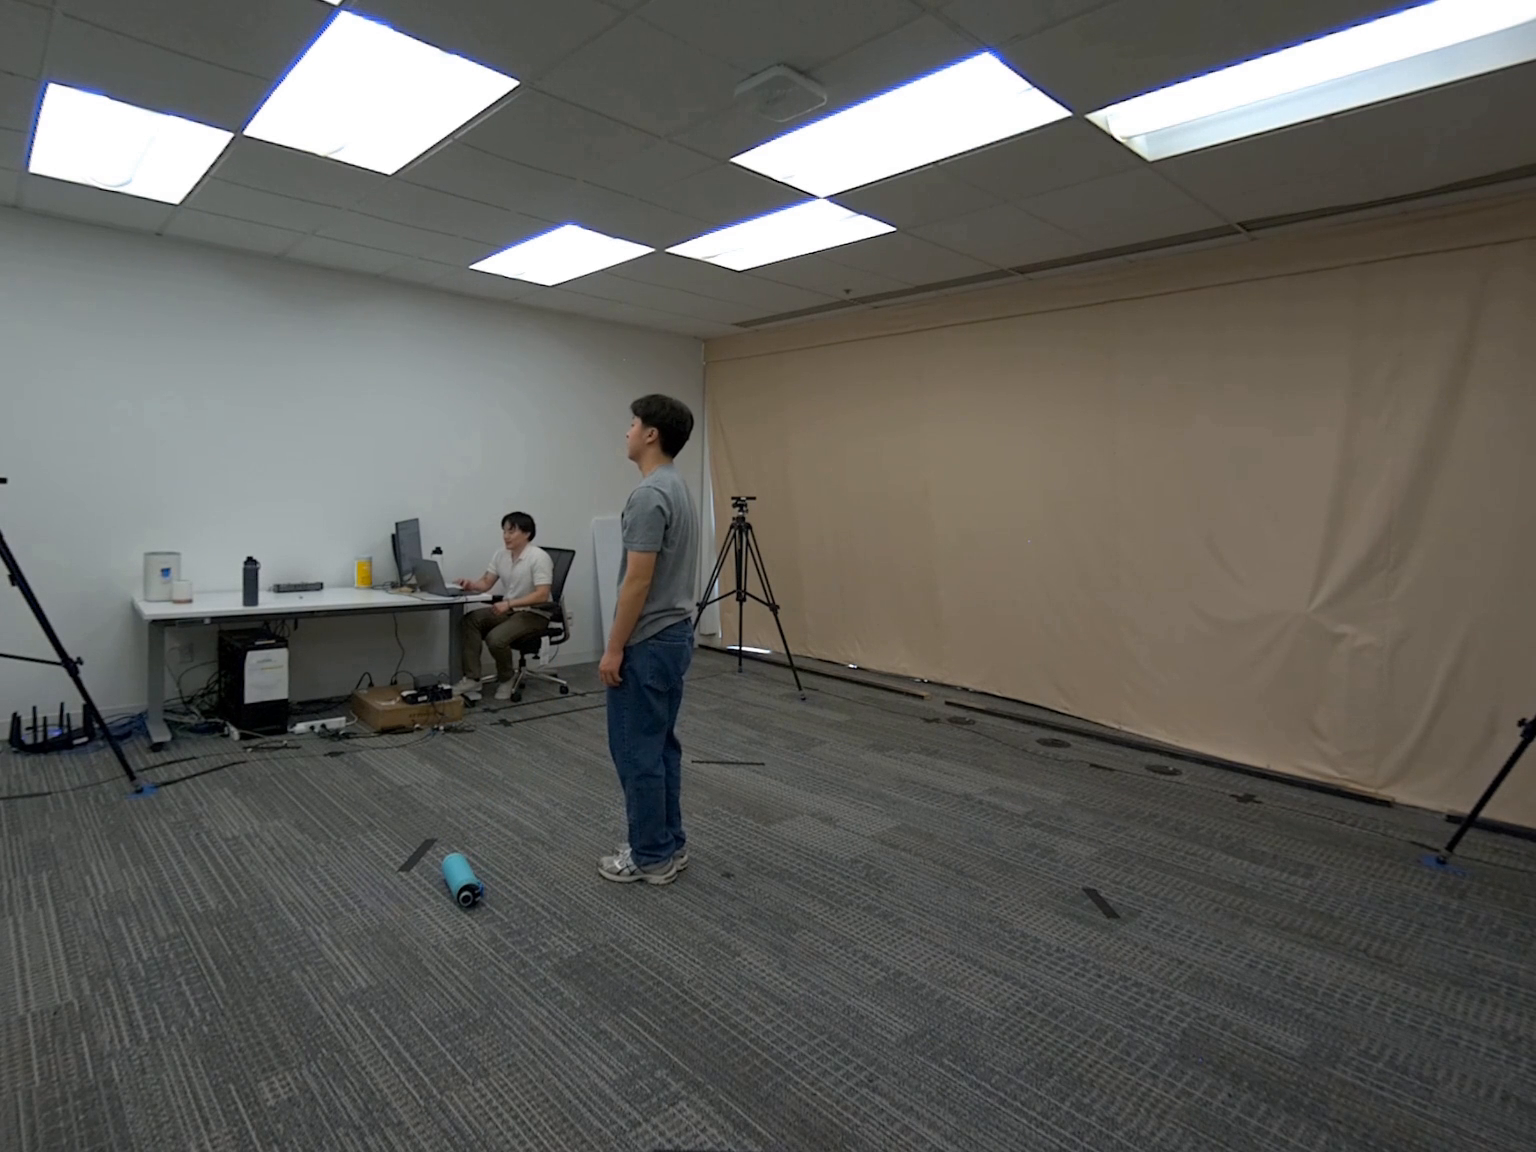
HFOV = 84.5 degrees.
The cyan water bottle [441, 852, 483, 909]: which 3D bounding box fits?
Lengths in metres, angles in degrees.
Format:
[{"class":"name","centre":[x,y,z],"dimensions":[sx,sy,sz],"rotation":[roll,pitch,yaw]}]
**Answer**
[{"class":"cyan water bottle","centre":[-1.069,1.057,2.913],"dimensions":[0.090,0.092,0.290],"rotation":[-1,6,-32]}]
